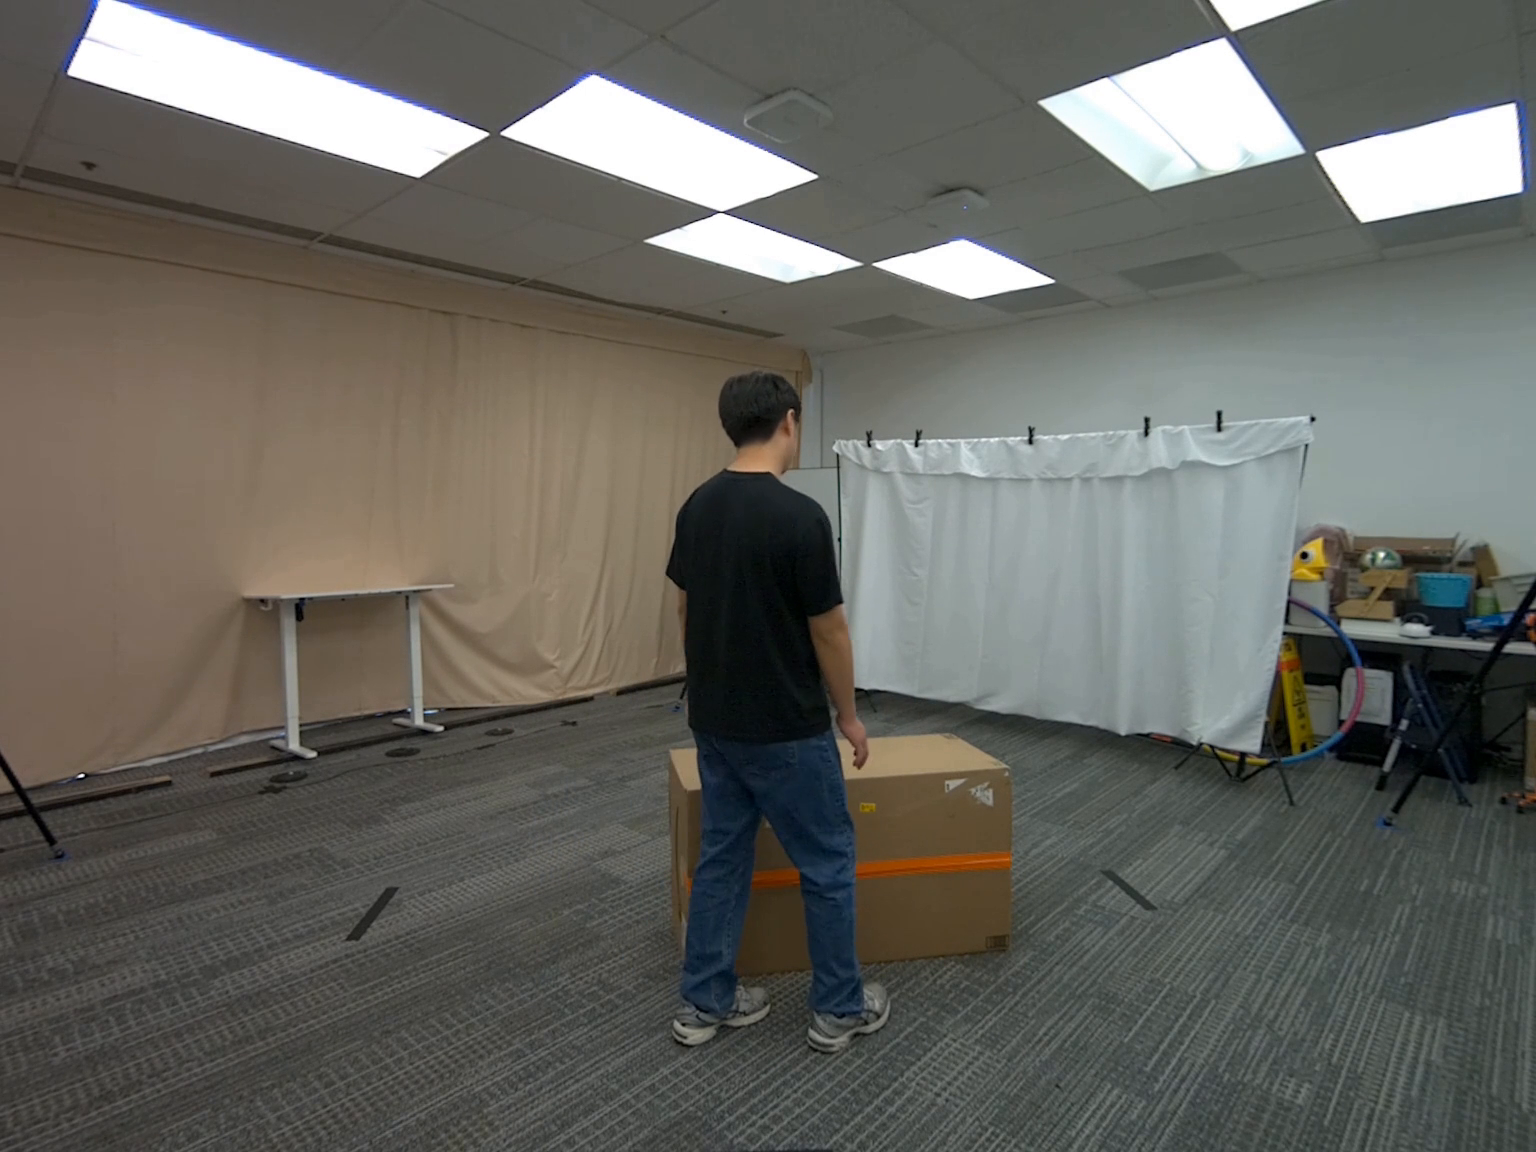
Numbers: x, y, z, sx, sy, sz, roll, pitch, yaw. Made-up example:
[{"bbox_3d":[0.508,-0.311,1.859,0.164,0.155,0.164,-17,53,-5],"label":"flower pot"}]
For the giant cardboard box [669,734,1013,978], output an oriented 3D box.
[{"bbox_3d":[0.217,0.876,2.735,1.015,0.582,0.453,-2,5,-11],"label":"giant cardboard box"}]
